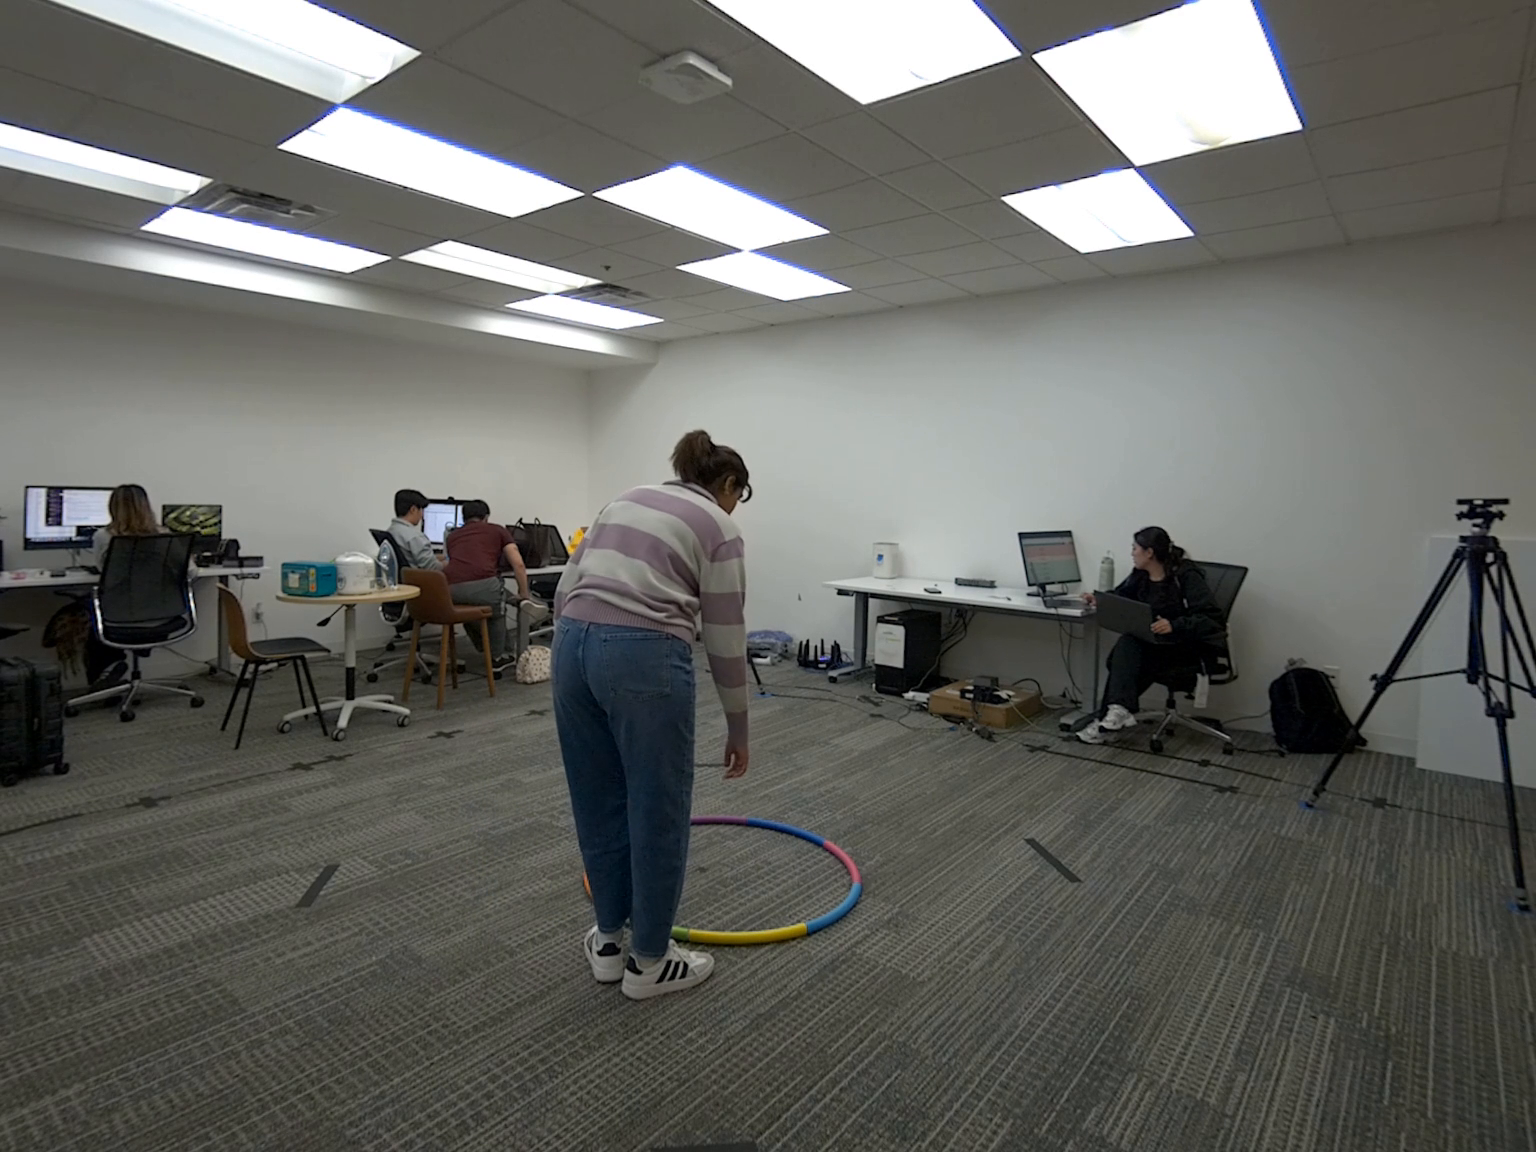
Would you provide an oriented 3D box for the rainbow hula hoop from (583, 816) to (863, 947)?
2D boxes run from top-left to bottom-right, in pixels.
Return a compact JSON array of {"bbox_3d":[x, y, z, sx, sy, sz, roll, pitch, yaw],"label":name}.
[{"bbox_3d":[-0.171,1.042,3.063,0.978,0.035,0.984,1,6,-2],"label":"rainbow hula hoop"}]
